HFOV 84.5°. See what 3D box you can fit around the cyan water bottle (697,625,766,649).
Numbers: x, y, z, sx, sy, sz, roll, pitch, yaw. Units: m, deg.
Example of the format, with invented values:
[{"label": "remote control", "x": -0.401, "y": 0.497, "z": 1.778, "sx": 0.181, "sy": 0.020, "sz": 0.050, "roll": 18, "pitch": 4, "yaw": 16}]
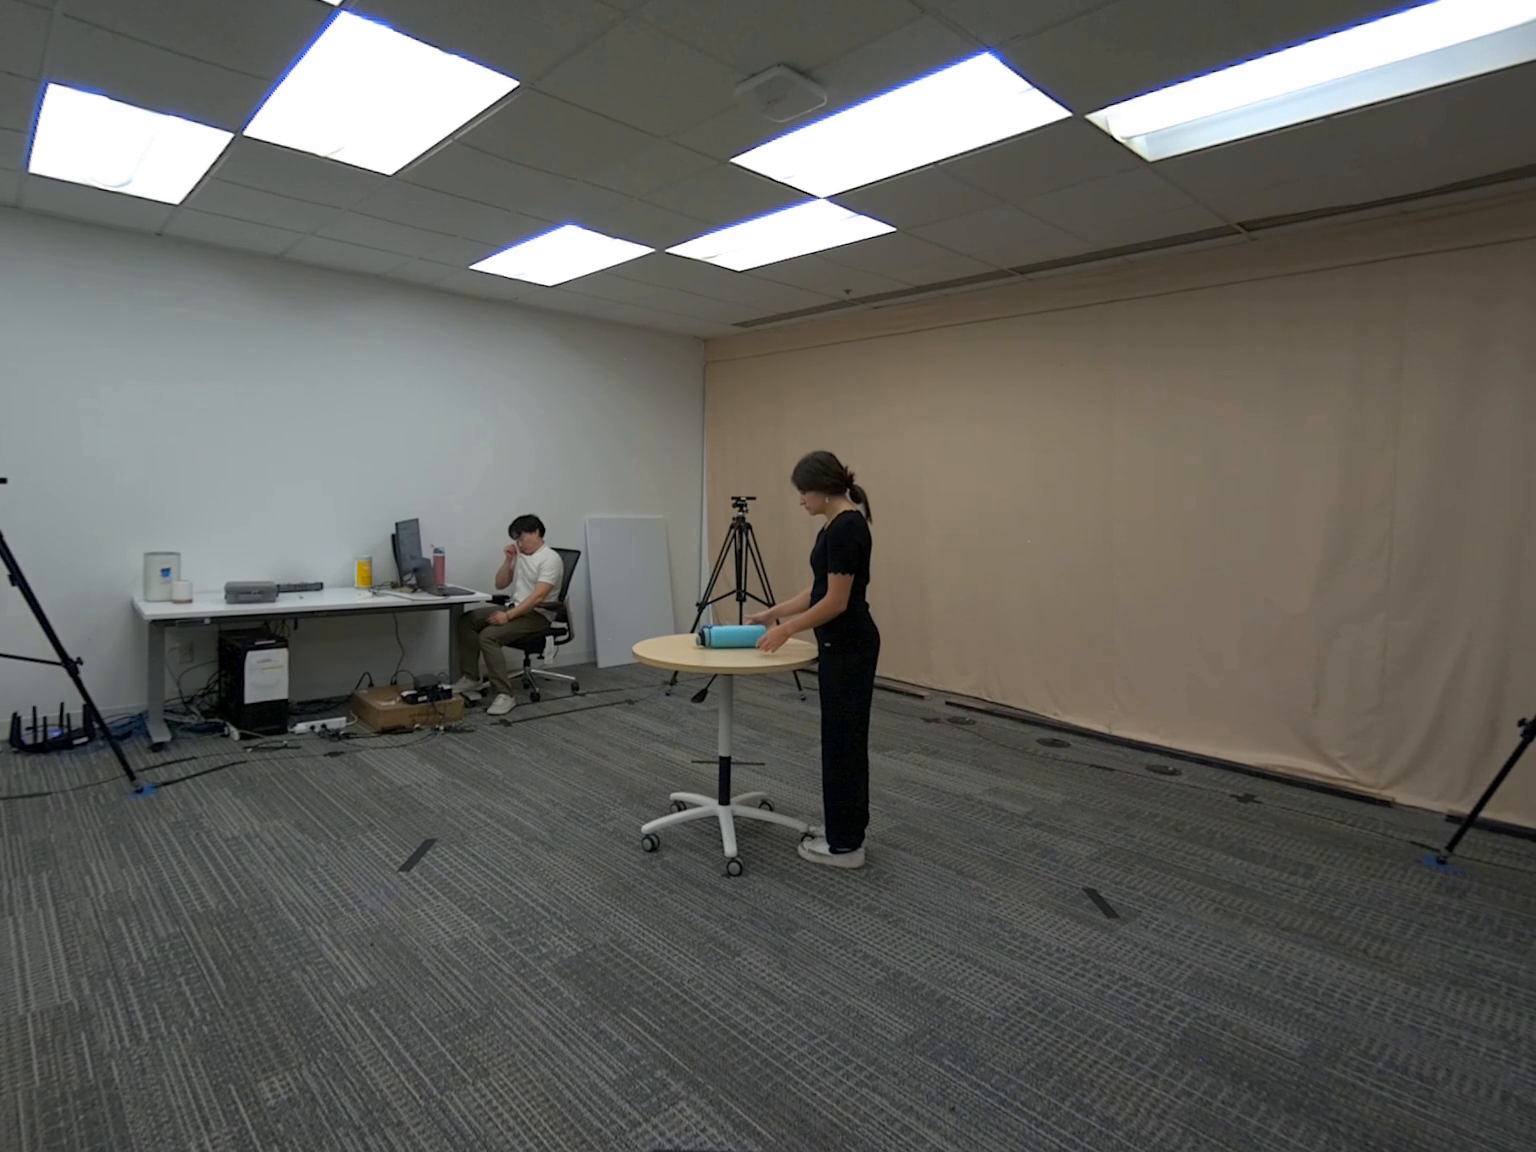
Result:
[{"label": "cyan water bottle", "x": -0.157, "y": 0.245, "z": 3.424, "sx": 0.282, "sy": 0.092, "sz": 0.093, "roll": 0, "pitch": 4, "yaw": -6}]
